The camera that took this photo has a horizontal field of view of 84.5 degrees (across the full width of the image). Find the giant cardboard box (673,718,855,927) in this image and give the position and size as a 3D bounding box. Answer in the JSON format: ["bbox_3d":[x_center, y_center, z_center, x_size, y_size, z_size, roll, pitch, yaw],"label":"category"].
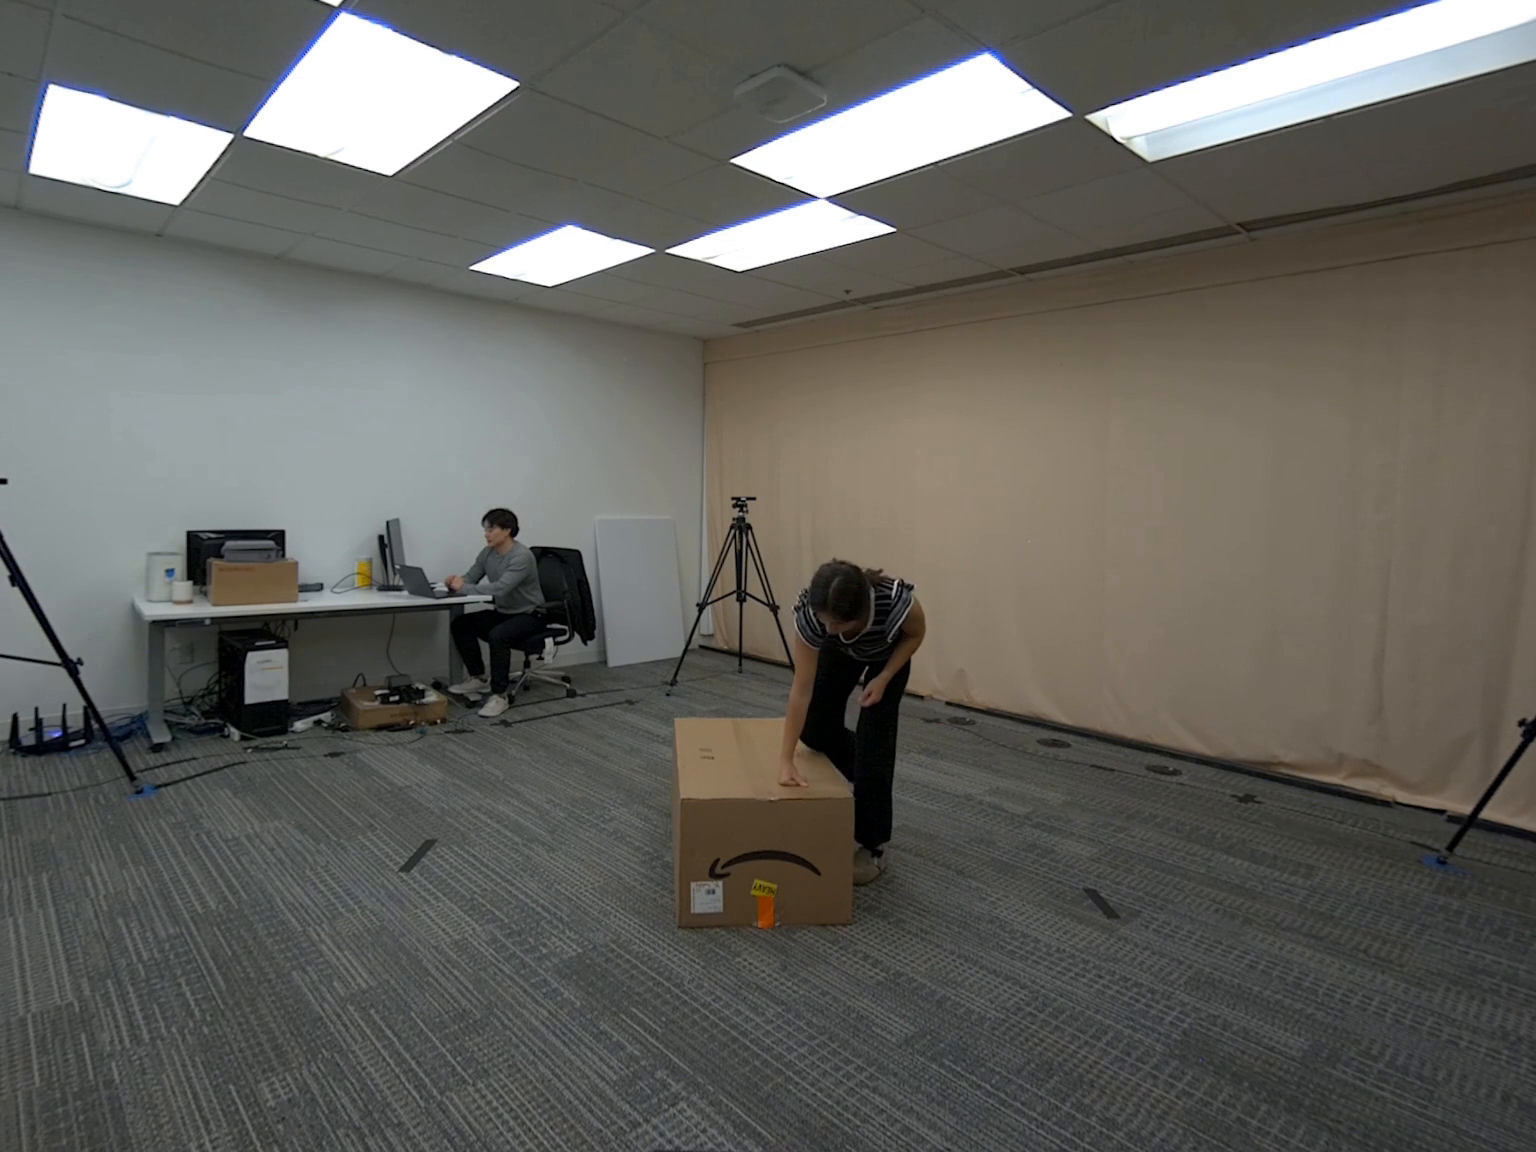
[{"bbox_3d":[-0.078,0.887,3.233,0.575,0.425,1.034,1,5,-7],"label":"giant cardboard box"}]
